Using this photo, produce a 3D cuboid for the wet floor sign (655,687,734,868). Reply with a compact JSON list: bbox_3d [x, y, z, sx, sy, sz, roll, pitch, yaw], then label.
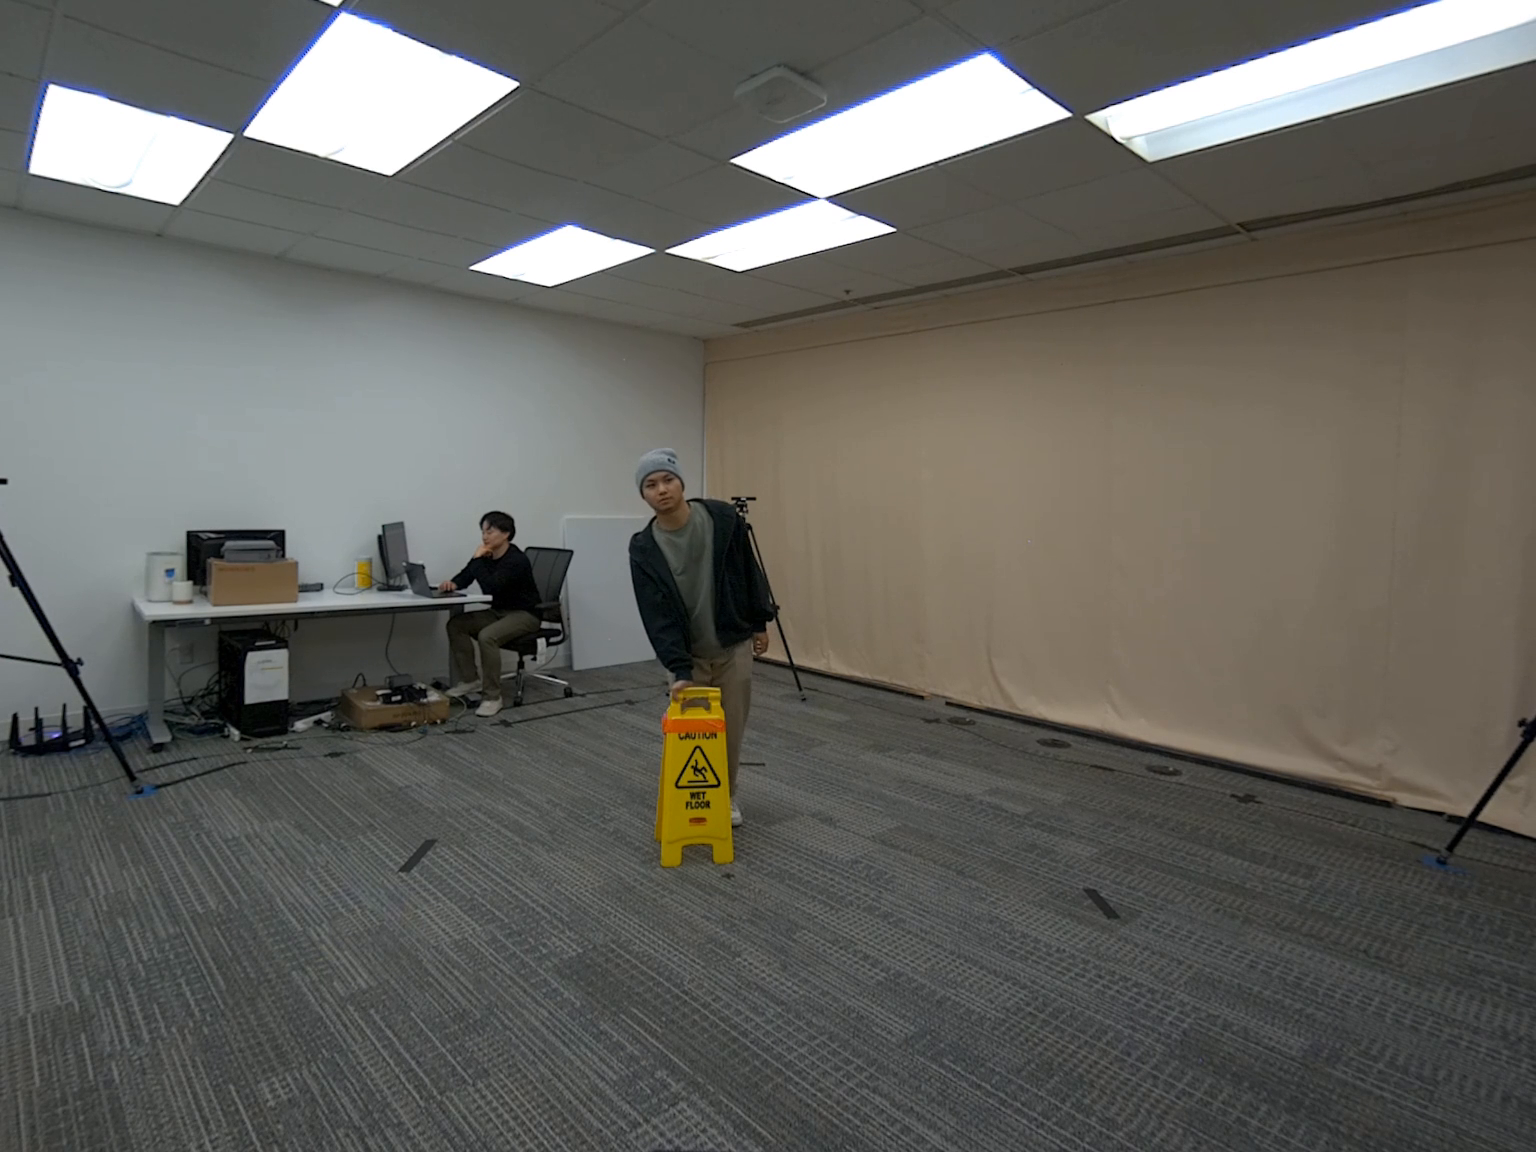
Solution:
[{"bbox_3d":[-0.302,0.756,3.304,0.279,0.644,0.293,2,3,-12],"label":"wet floor sign"}]
